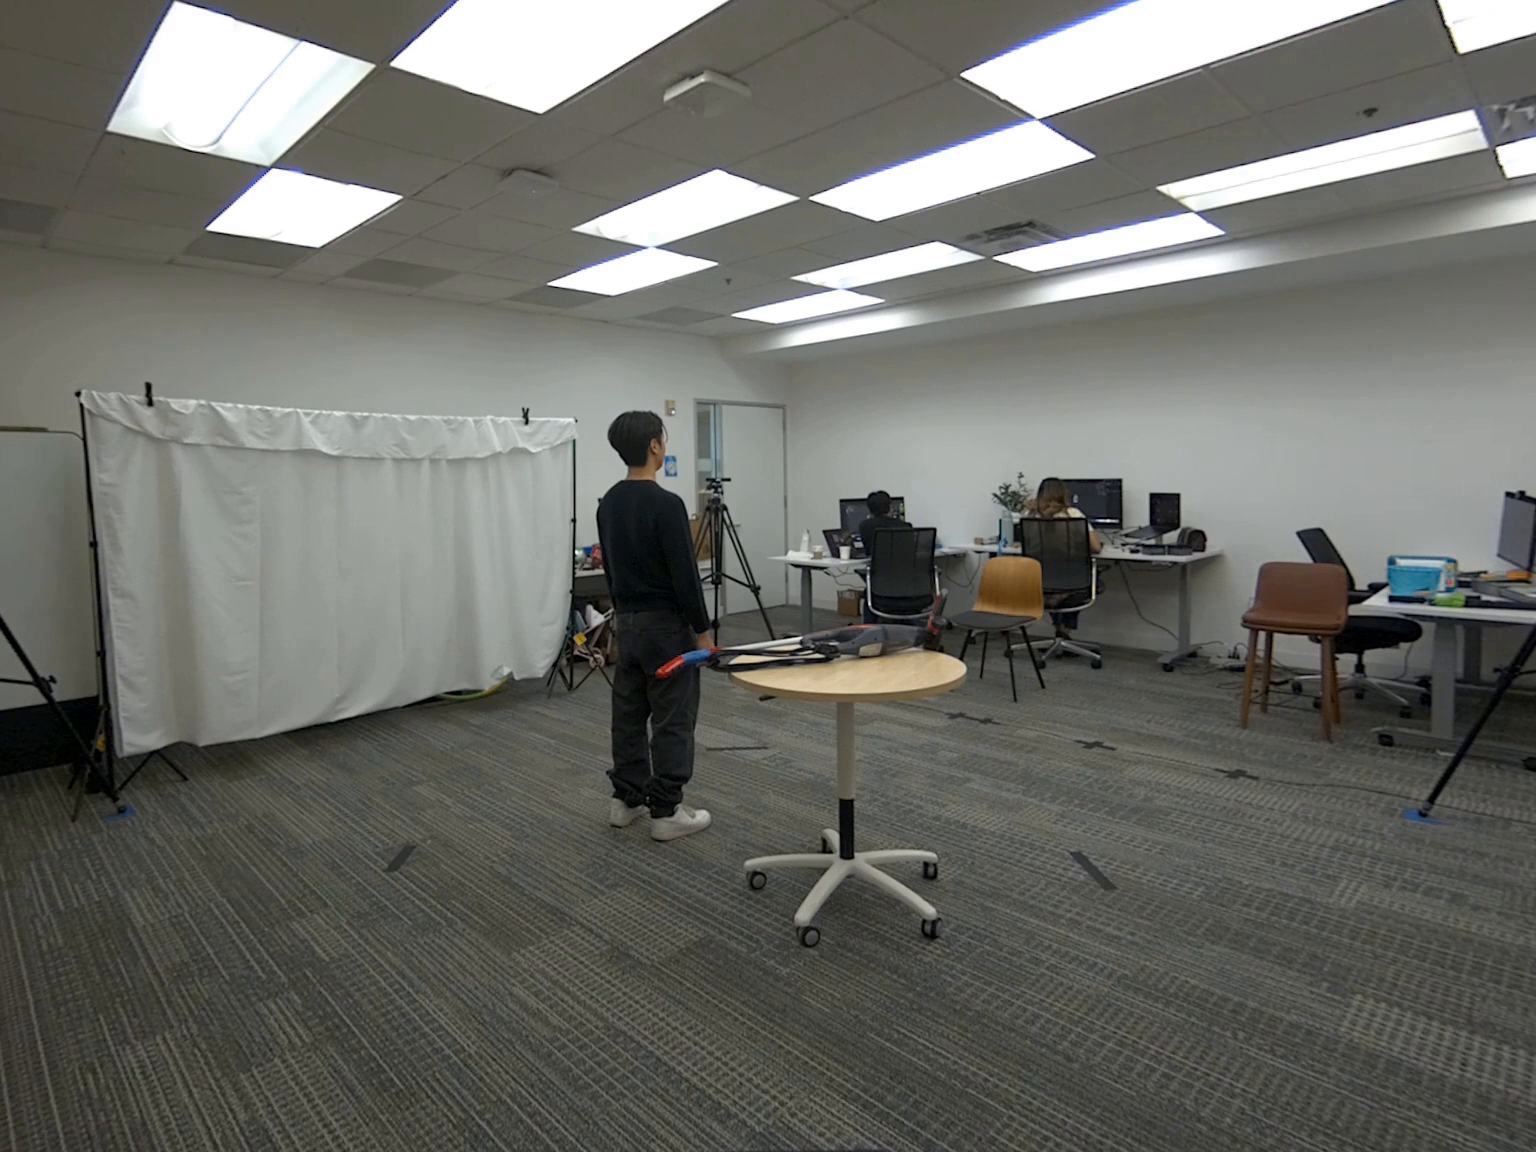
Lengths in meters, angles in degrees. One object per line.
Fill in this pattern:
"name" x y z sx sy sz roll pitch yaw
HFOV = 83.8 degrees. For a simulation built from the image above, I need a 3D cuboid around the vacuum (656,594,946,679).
"vacuum" 0.136 0.250 2.838 1.030 0.247 0.149 -8 40 -23
